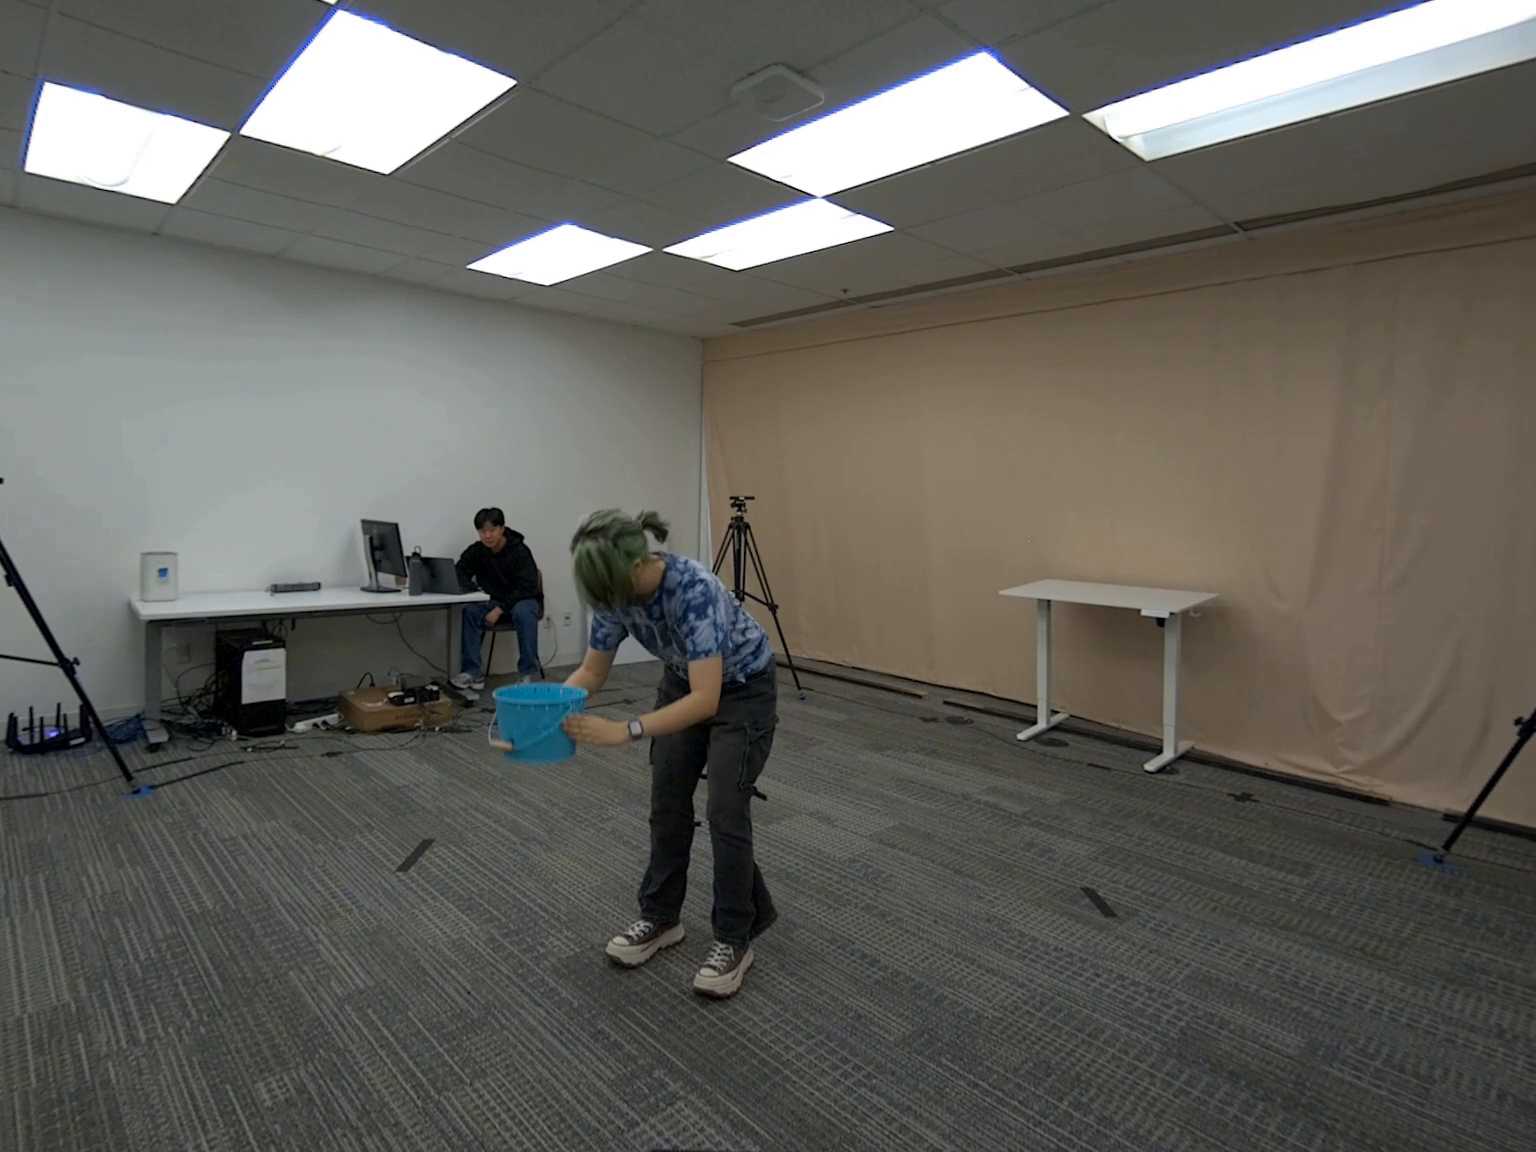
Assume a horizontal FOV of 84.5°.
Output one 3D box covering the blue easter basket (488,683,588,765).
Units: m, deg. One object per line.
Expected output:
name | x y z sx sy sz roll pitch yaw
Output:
blue easter basket | -0.564 0.334 2.097 0.243 0.156 0.244 -6 2 -1
